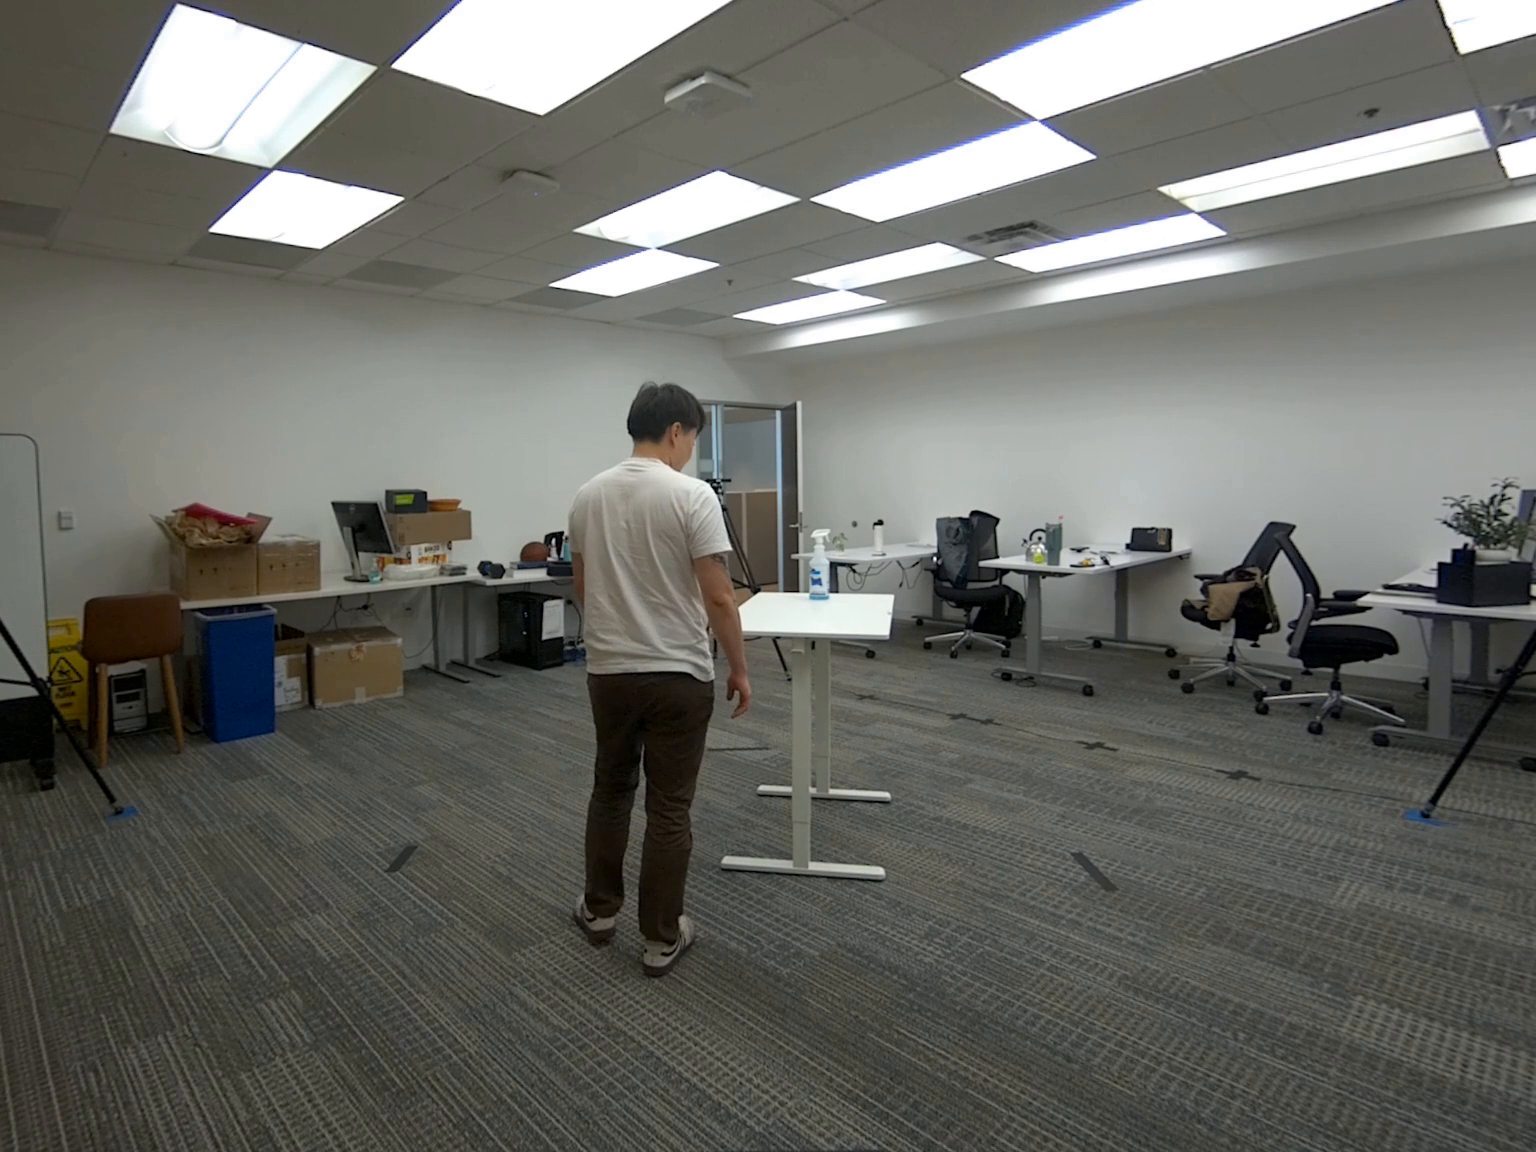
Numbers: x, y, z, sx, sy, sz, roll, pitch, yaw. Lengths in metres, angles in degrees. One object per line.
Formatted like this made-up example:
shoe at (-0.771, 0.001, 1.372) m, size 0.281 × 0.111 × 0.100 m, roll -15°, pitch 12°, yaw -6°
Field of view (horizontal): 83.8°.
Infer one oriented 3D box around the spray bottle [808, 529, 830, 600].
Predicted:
spray bottle at (0.223, -0.048, 3.648) m, size 0.090 × 0.296 × 0.087 m, roll 0°, pitch 4°, yaw -1°
